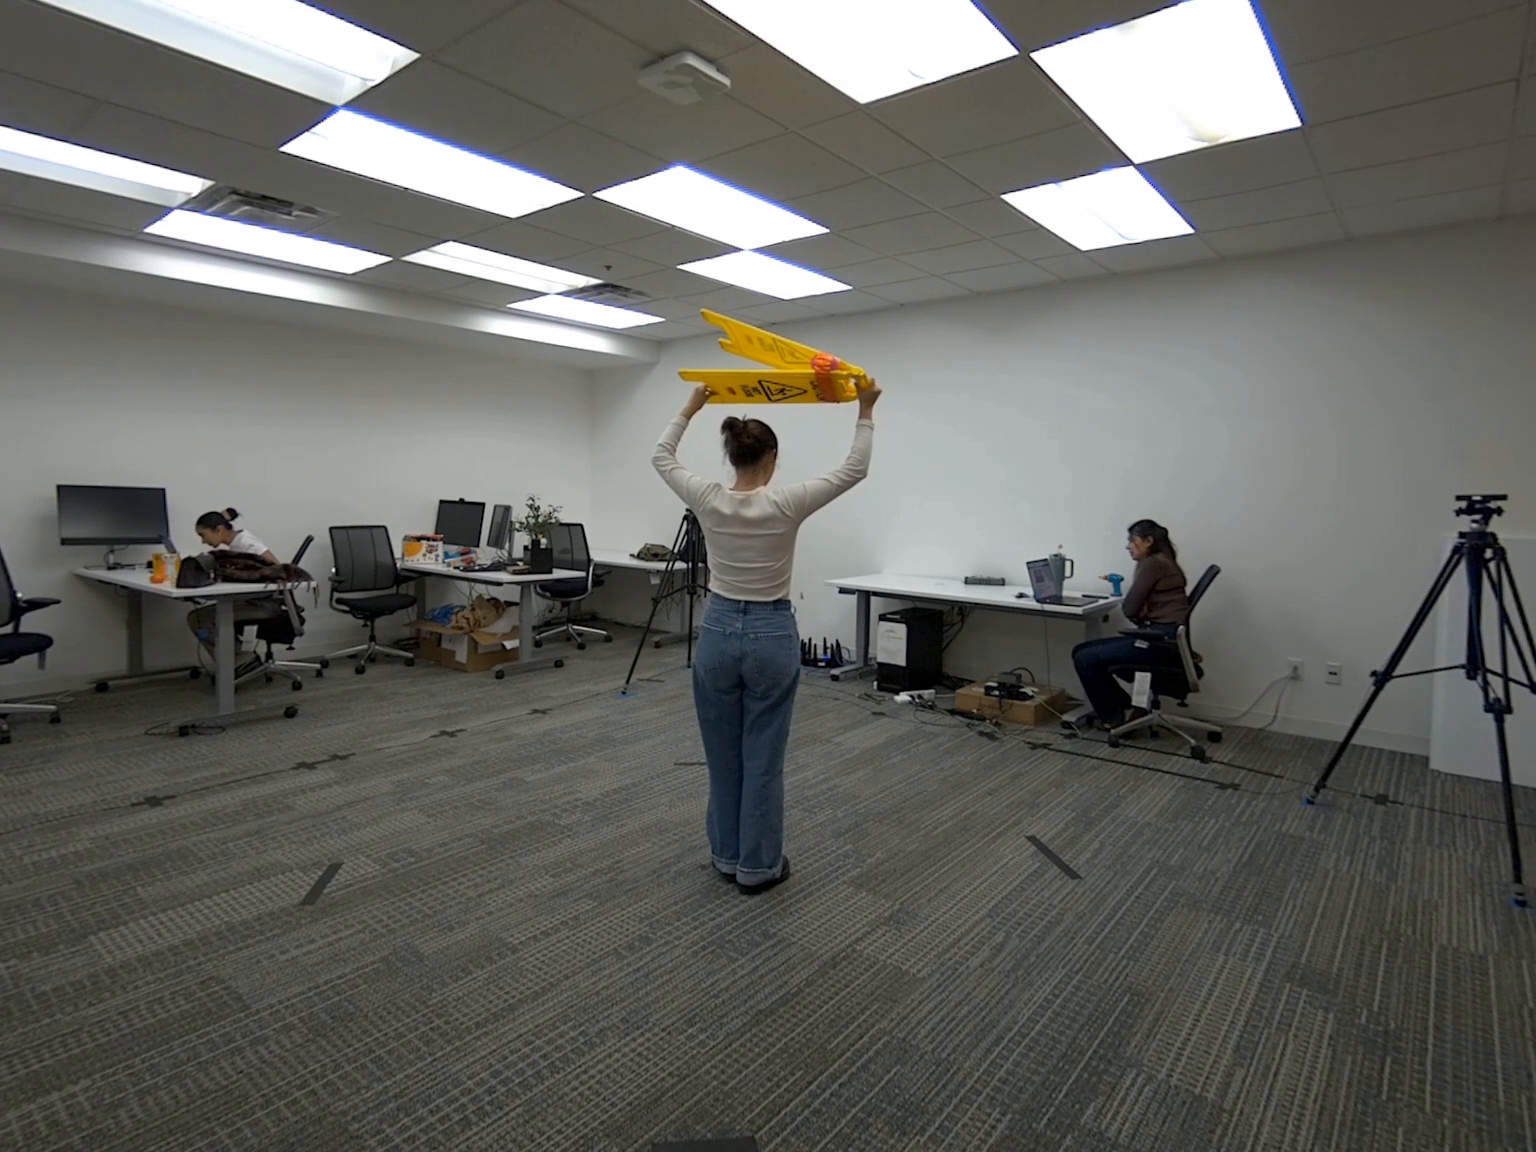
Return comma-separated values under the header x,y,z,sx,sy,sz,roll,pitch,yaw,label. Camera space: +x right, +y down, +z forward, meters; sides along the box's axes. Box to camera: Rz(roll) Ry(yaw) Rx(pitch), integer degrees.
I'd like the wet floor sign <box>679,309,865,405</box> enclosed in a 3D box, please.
x,y,z,sx,sy,sz,roll,pitch,yaw,label
0.045,-0.728,3.012,0.663,0.292,0.273,14,-12,20,wet floor sign
